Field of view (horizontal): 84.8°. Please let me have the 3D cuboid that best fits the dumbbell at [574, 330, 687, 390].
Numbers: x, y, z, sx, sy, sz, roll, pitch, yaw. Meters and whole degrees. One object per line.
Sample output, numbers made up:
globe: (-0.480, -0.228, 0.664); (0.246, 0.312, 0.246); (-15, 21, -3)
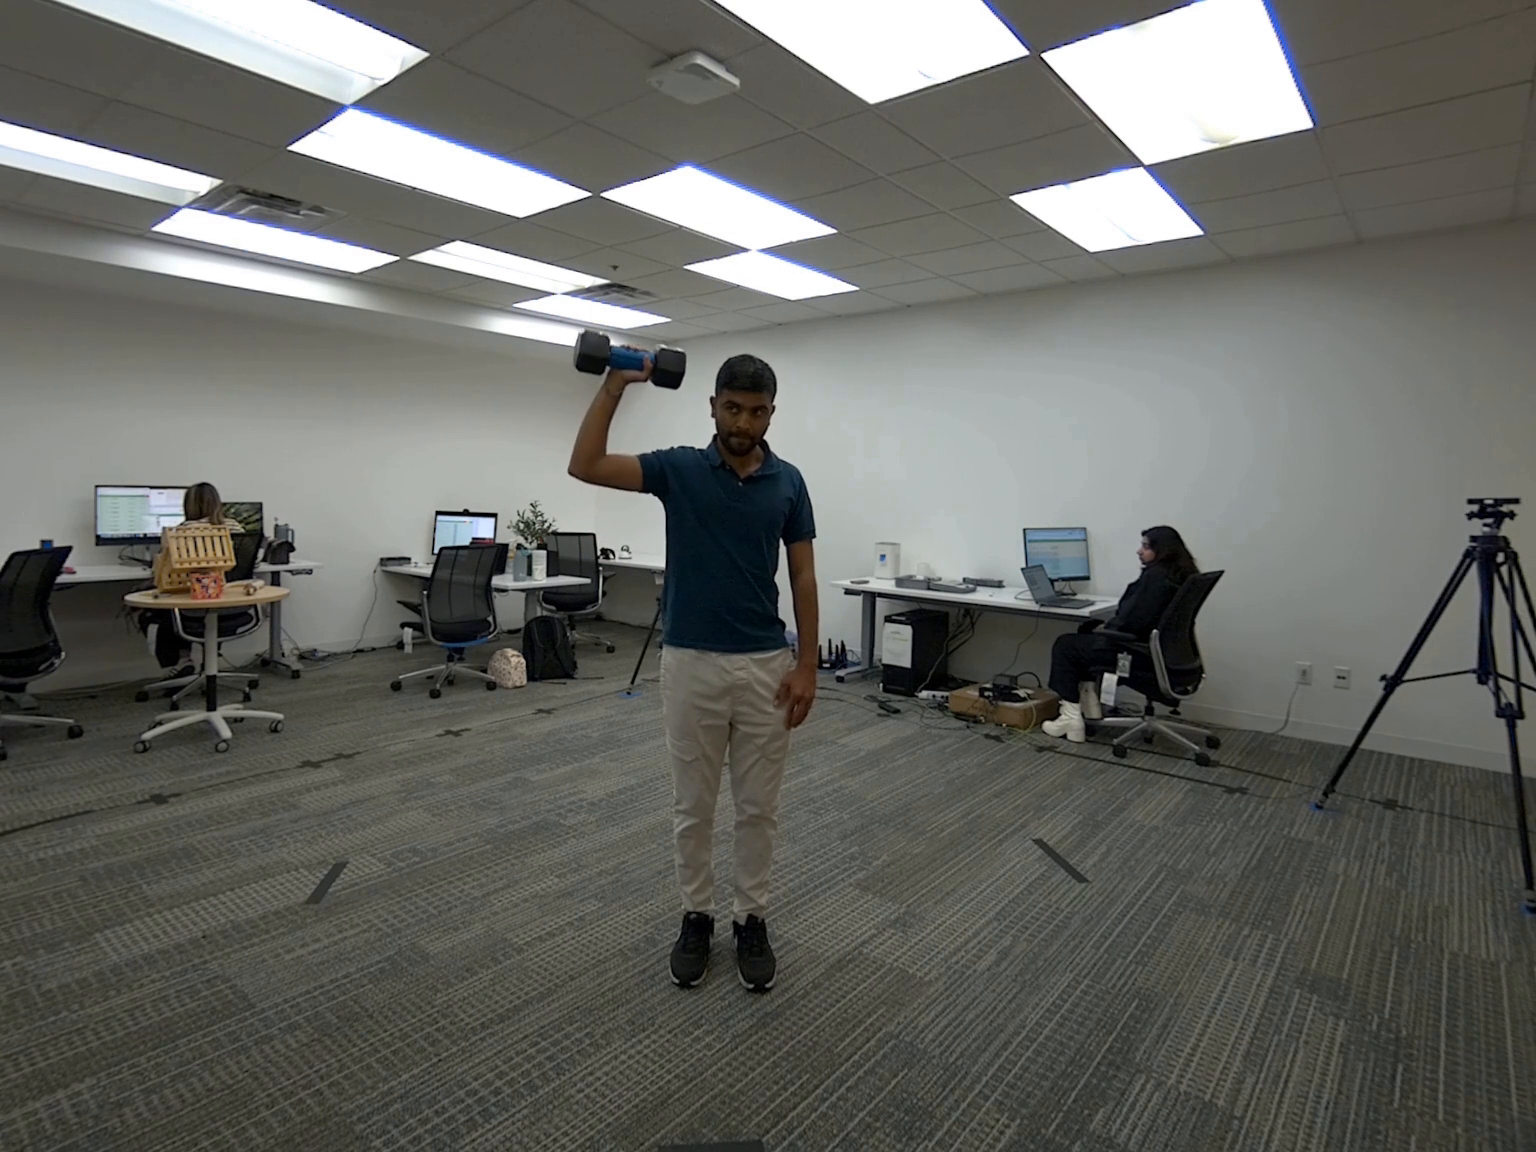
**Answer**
dumbbell: (-0.375, -0.591, 2.293); (0.288, 0.107, 0.127); (8, 17, -18)
